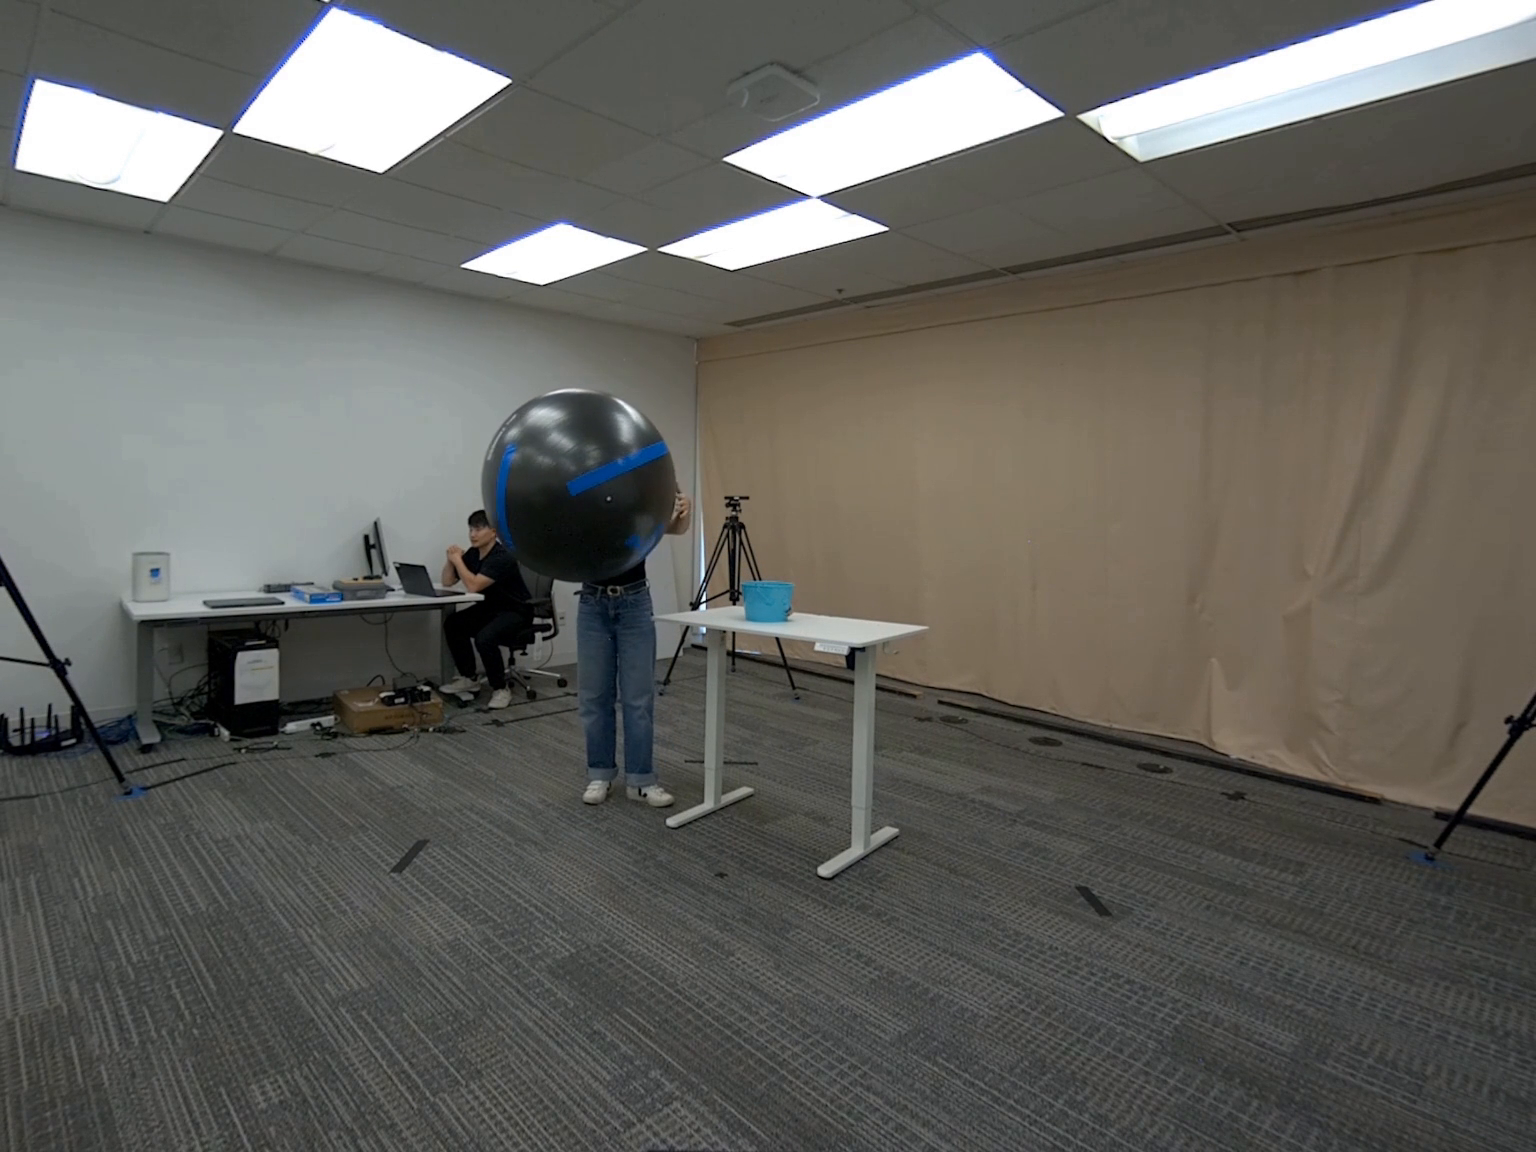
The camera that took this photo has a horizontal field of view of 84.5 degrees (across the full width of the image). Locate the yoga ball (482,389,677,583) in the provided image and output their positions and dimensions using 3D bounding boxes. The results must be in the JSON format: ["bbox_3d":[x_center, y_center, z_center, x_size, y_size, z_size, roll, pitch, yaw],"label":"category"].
[{"bbox_3d":[-0.747,-0.344,3.327,0.757,0.756,0.761,1,4,-1],"label":"yoga ball"}]
